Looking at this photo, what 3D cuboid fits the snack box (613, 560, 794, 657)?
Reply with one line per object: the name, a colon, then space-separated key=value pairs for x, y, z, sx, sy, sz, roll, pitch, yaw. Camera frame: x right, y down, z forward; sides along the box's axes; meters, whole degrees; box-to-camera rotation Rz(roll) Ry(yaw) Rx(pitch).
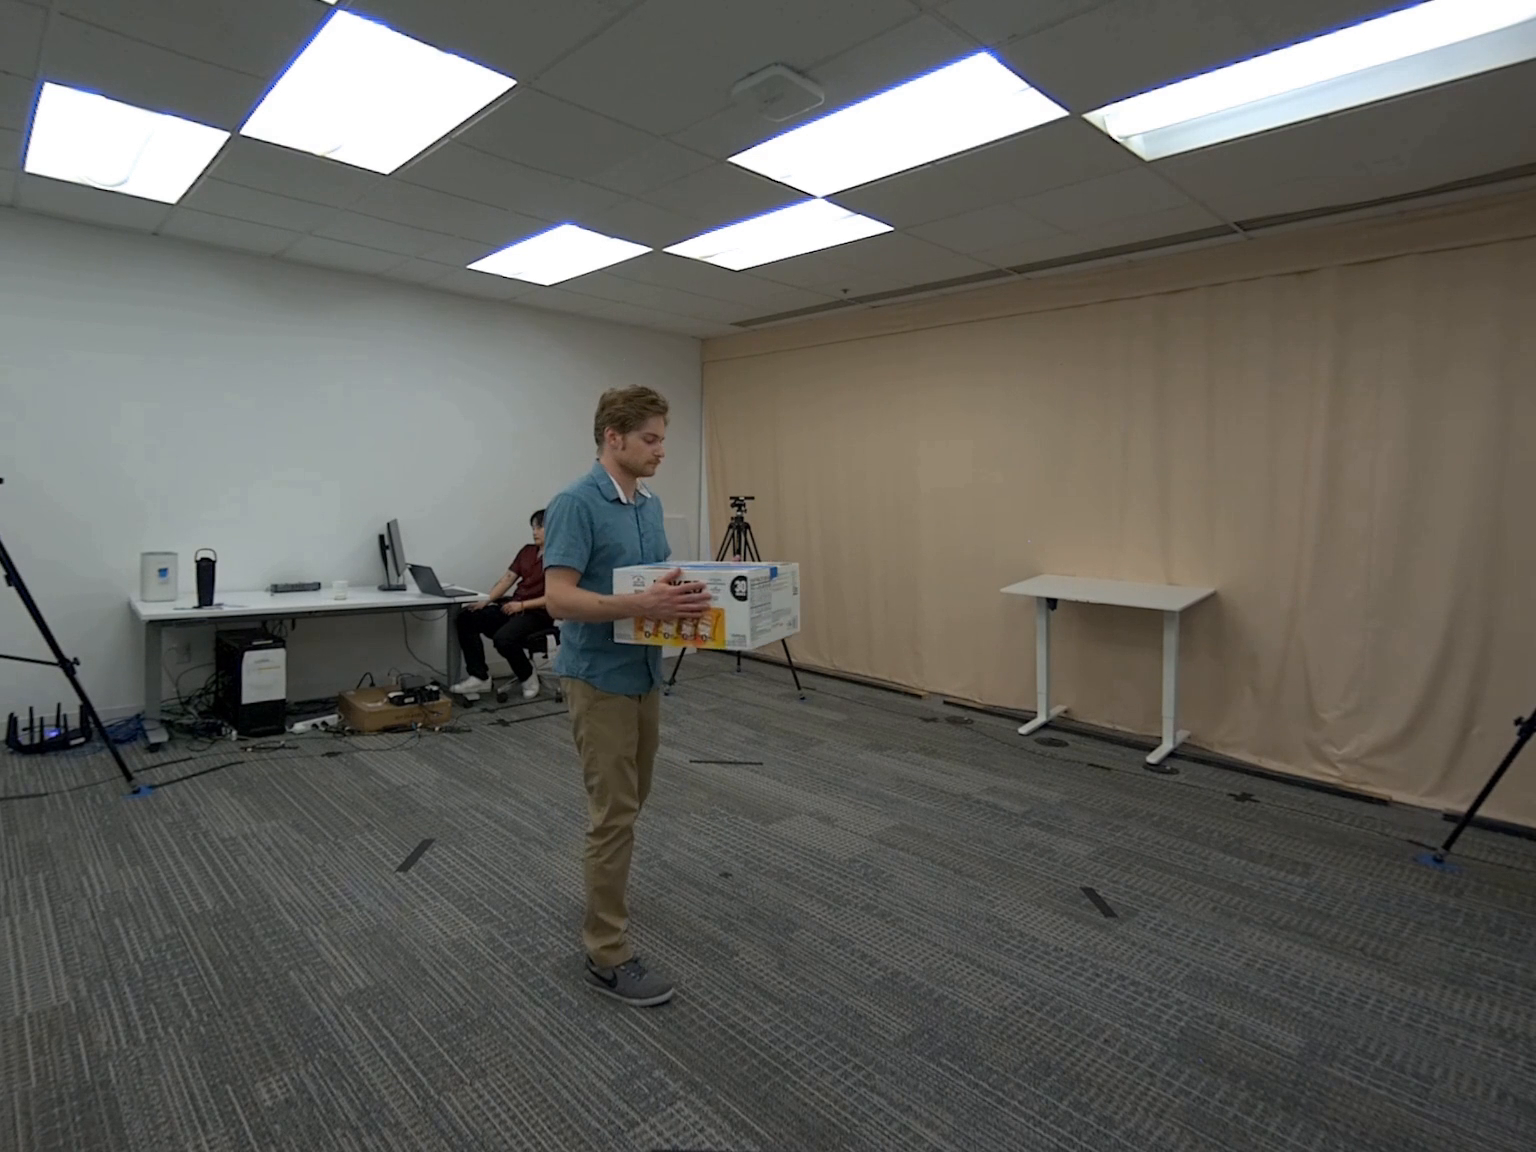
snack box: x=-0.188 y=0.074 z=2.327 sx=0.413 sy=0.205 sz=0.334 roll=2 pitch=5 yaw=27
